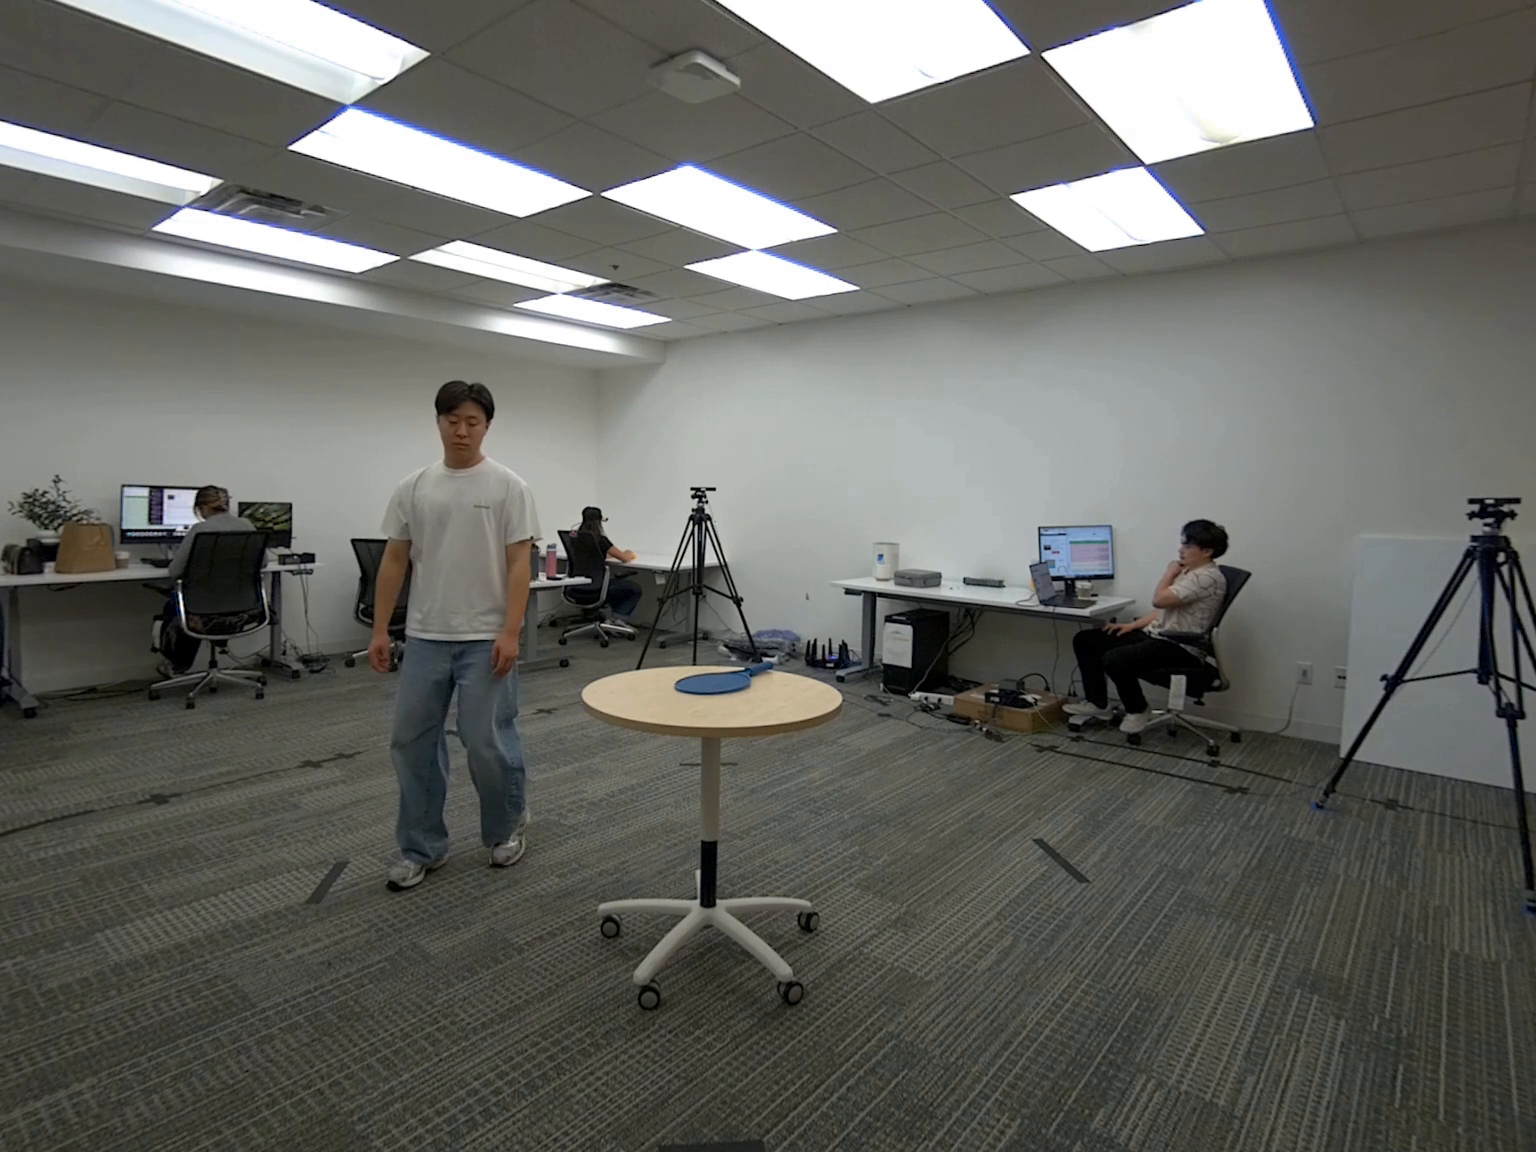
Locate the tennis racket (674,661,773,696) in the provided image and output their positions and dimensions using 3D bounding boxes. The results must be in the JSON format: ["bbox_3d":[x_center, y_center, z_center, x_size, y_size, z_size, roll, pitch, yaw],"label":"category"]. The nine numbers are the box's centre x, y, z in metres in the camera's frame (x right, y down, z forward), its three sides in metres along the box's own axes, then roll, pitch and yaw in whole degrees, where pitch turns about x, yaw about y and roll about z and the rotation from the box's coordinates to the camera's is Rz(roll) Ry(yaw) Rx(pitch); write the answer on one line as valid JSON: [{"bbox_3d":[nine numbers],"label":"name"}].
[{"bbox_3d":[-0.122,0.319,2.667,0.221,0.031,0.421,5,9,38],"label":"tennis racket"}]
